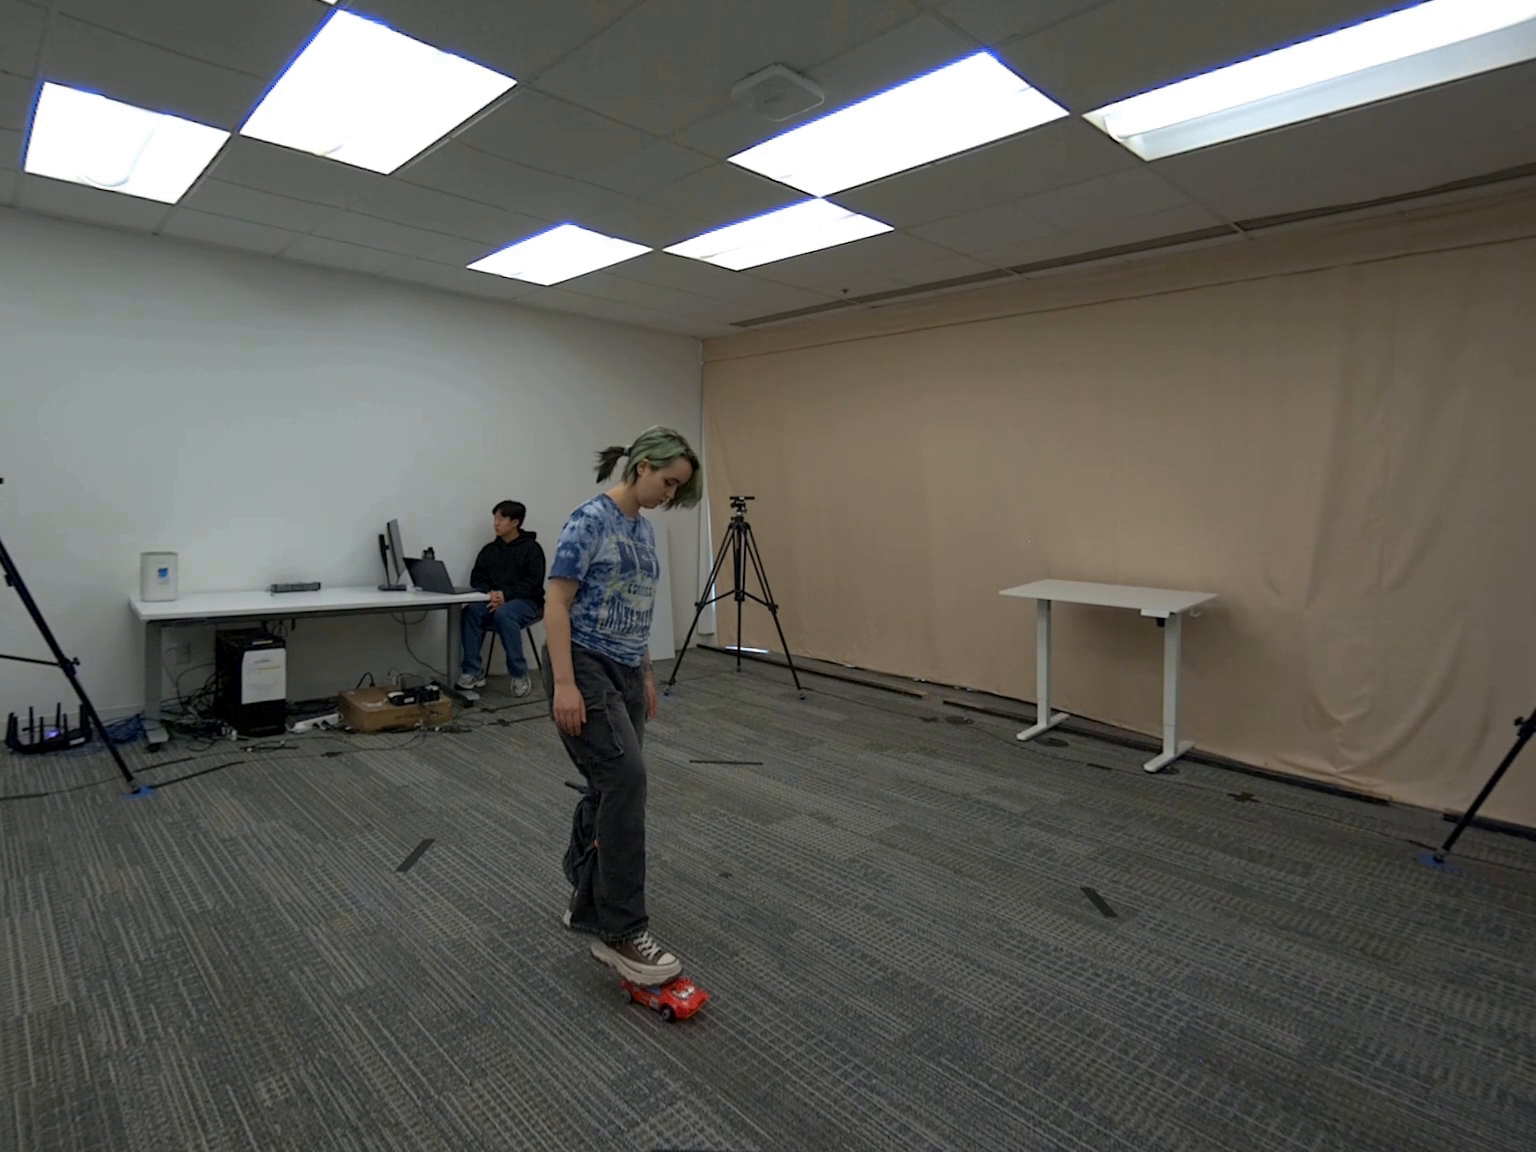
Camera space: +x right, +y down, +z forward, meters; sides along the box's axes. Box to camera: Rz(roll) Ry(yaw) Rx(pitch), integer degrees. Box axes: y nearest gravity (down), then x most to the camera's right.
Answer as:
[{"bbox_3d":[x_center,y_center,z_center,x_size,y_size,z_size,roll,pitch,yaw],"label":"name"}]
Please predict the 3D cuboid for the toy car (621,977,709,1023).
[{"bbox_3d":[-0.283,1.149,2.289,0.259,0.083,0.128,-9,0,34],"label":"toy car"}]
